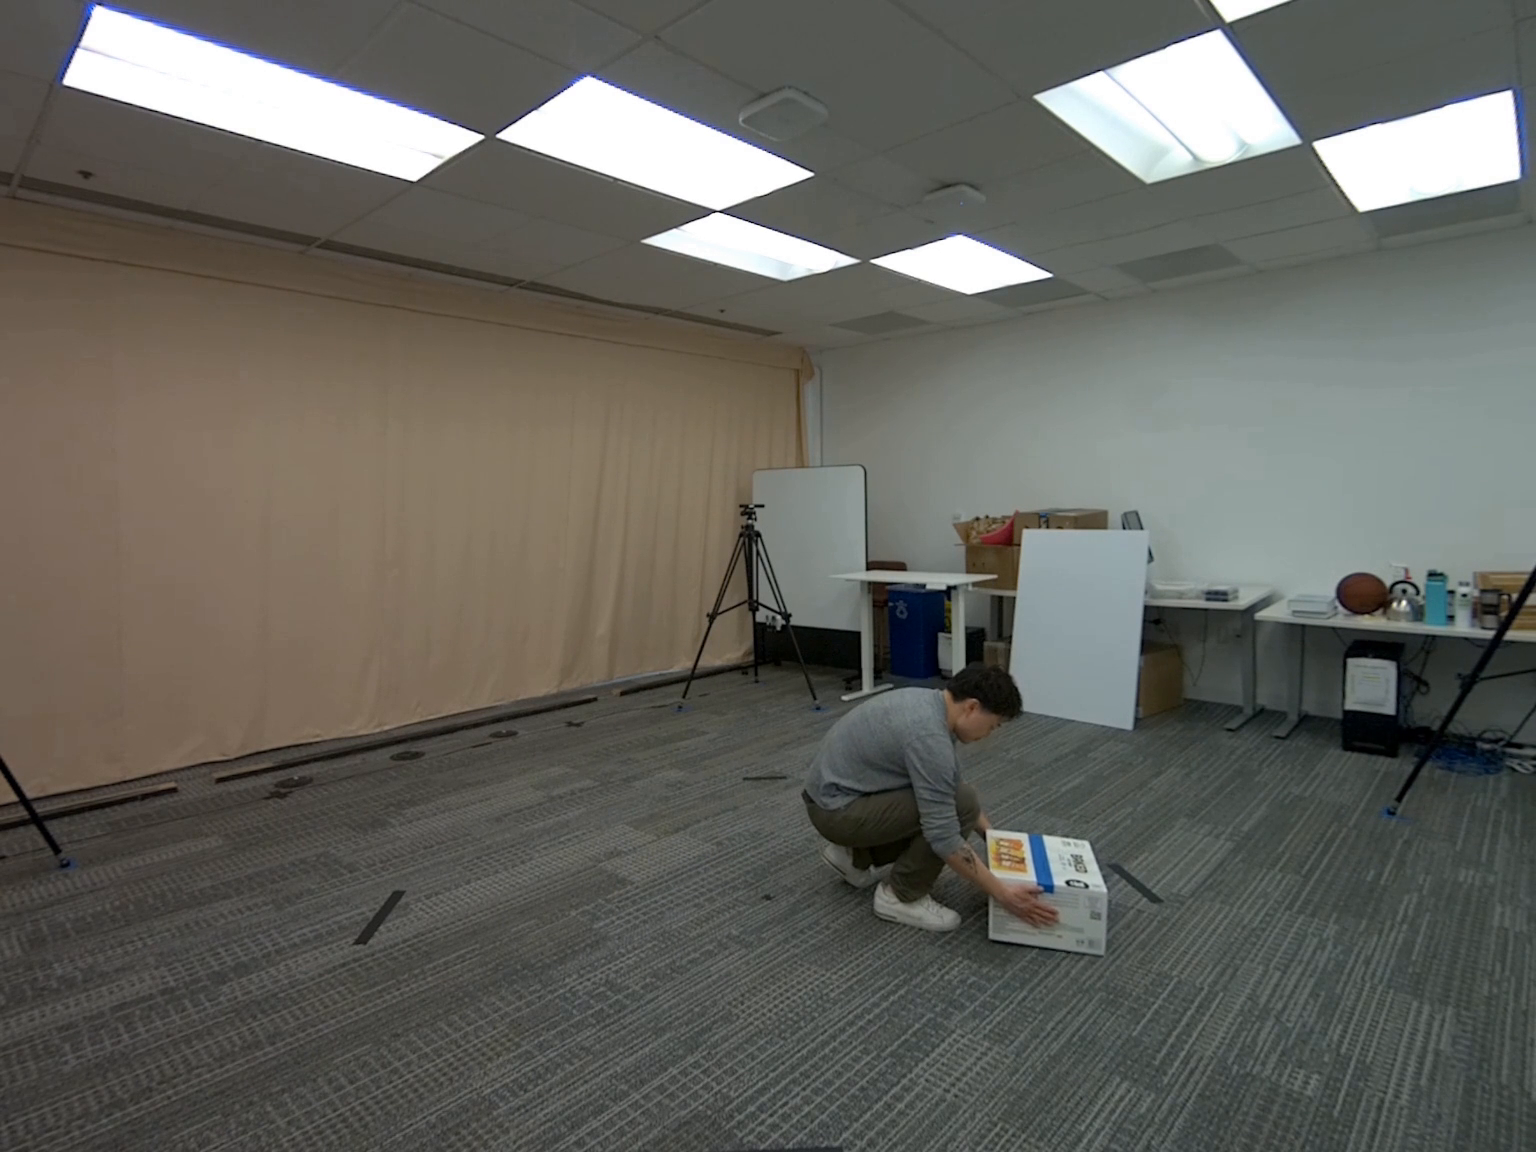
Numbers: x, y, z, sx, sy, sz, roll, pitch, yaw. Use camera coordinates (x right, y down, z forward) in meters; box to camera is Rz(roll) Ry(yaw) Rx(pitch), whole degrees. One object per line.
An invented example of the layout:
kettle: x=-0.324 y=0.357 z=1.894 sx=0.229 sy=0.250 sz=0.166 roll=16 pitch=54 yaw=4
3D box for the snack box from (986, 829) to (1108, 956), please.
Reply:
snack box: x=0.901 y=1.021 z=2.785 sx=0.346 sy=0.205 sz=0.400 roll=1 pitch=5 yaw=14
